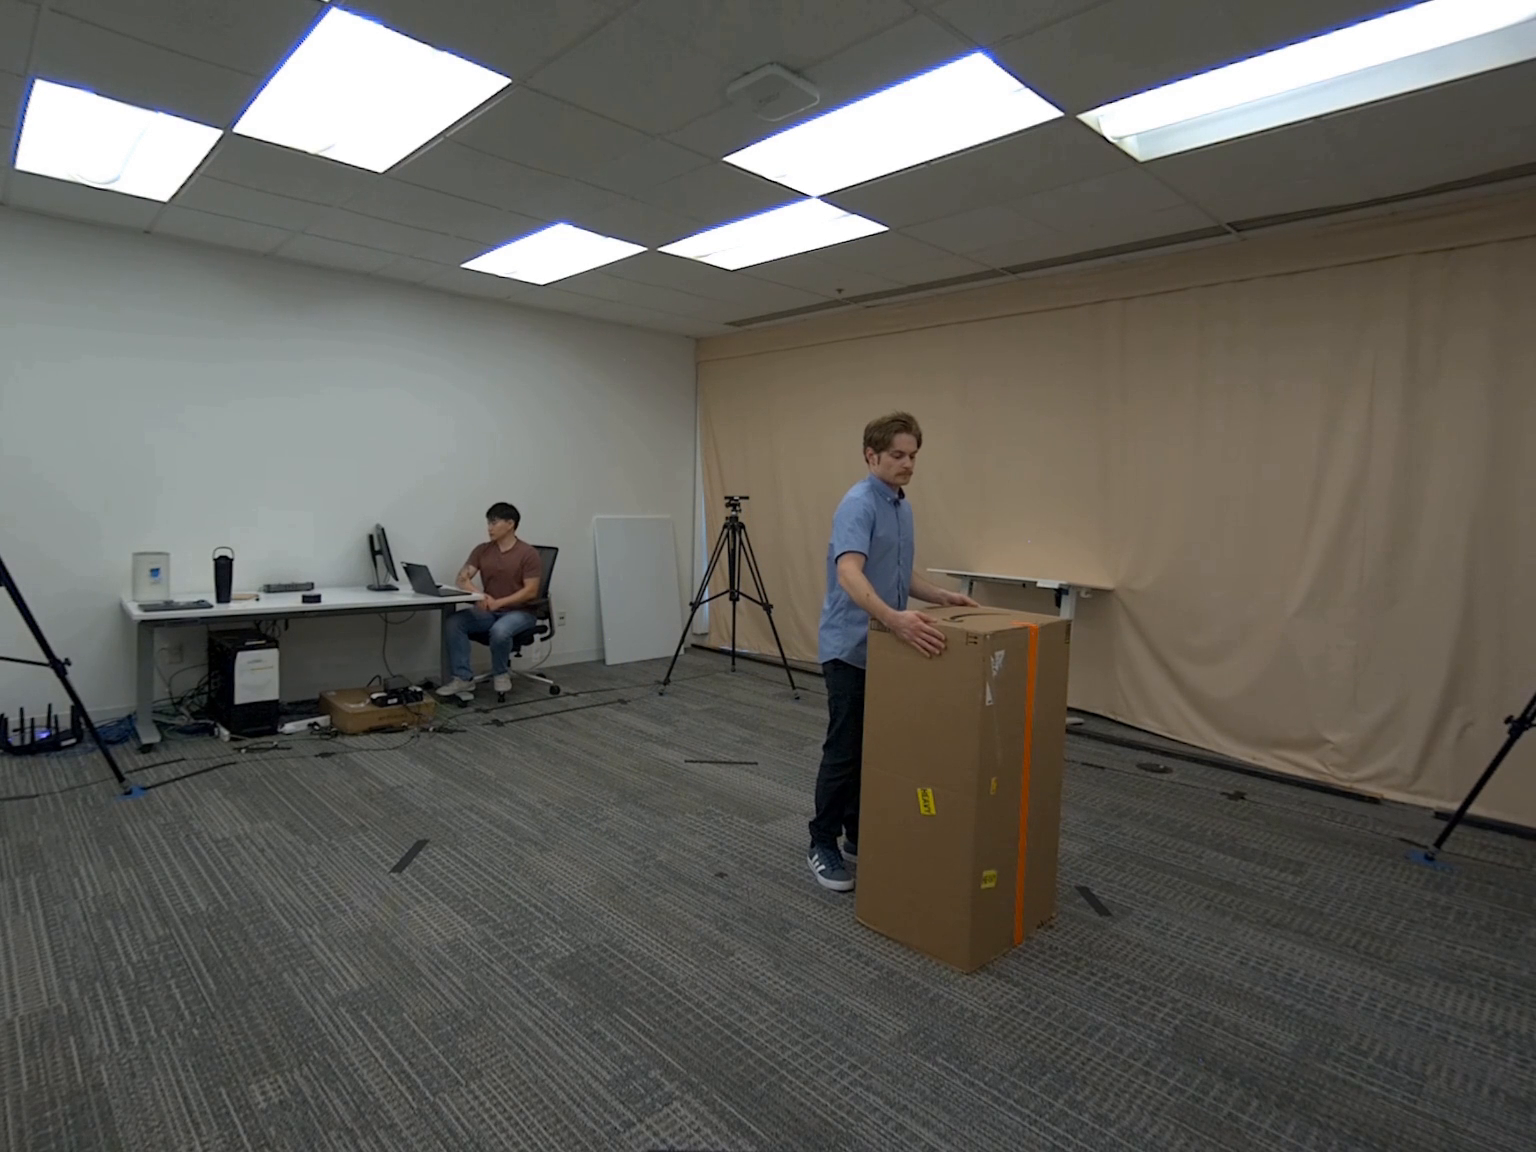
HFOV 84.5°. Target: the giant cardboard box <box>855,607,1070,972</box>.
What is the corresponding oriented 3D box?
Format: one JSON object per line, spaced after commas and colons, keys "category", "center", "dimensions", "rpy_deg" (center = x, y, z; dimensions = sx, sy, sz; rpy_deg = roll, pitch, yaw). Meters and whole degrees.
{"category": "giant cardboard box", "center": [0.656, 0.645, 2.795], "dimensions": [0.564, 1.023, 0.437], "rpy_deg": [-1, 4, -45]}
